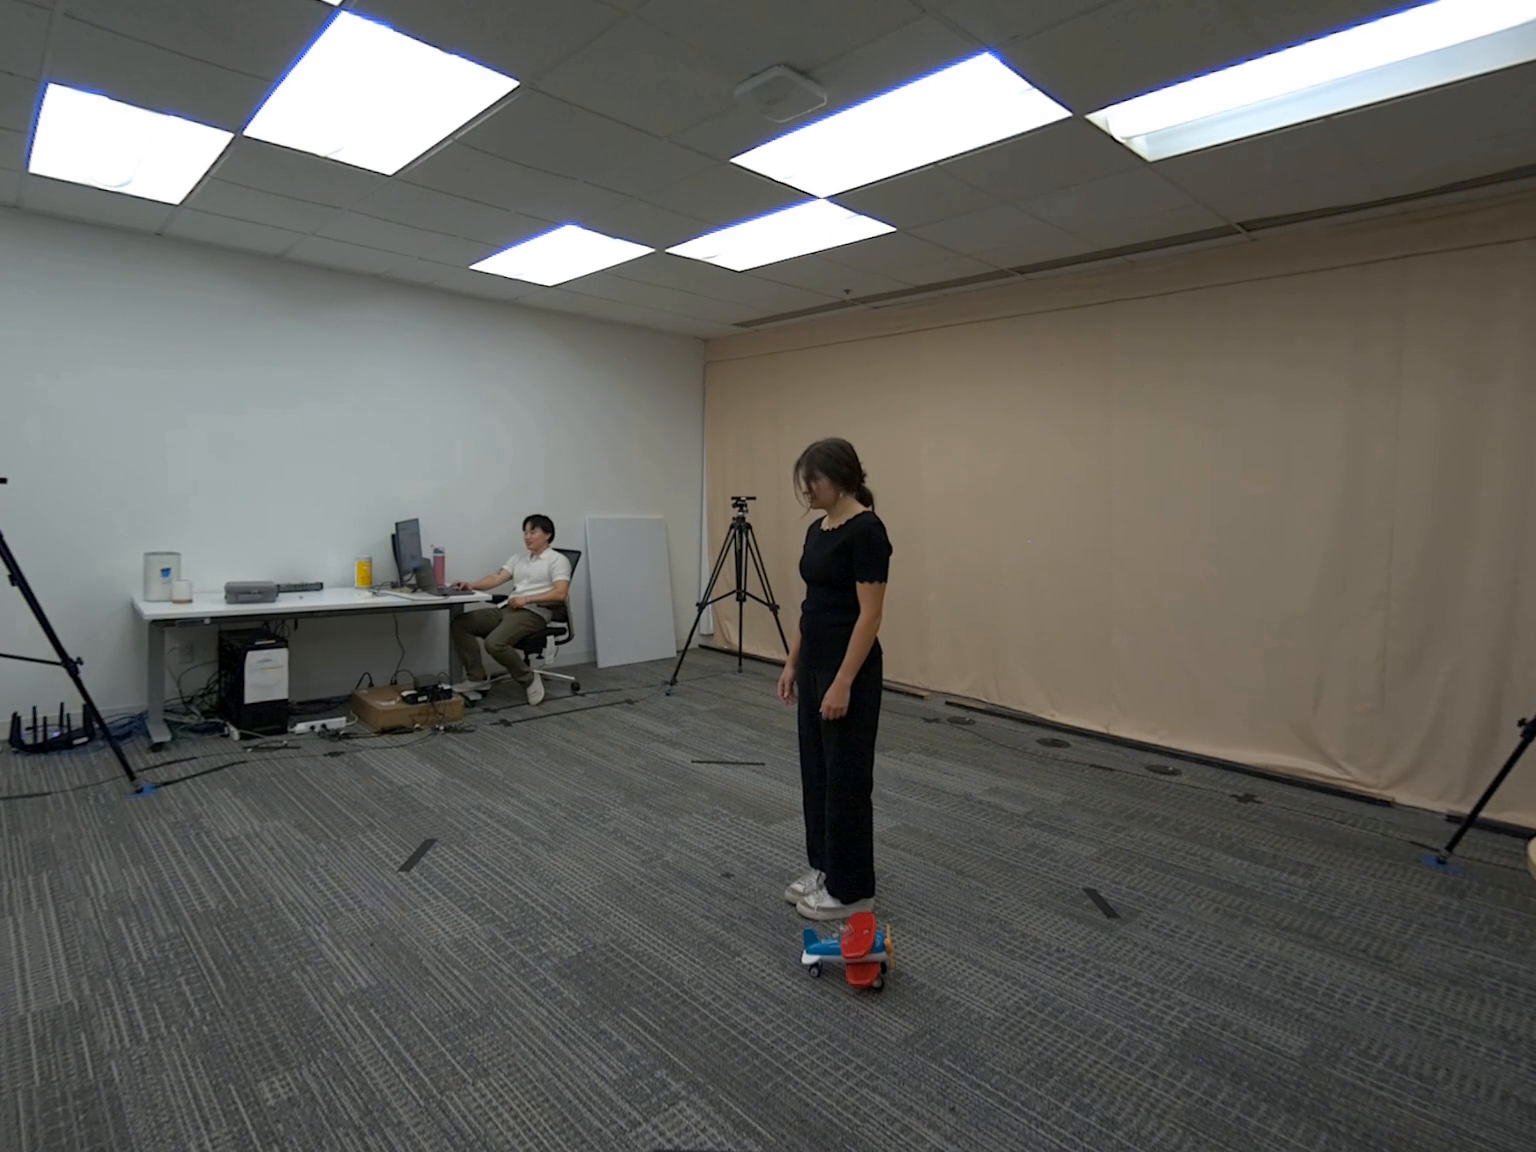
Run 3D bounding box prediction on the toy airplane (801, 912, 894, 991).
[{"bbox_3d":[0.221,1.104,2.437,0.256,0.156,0.255,1,4,-15],"label":"toy airplane"}]
